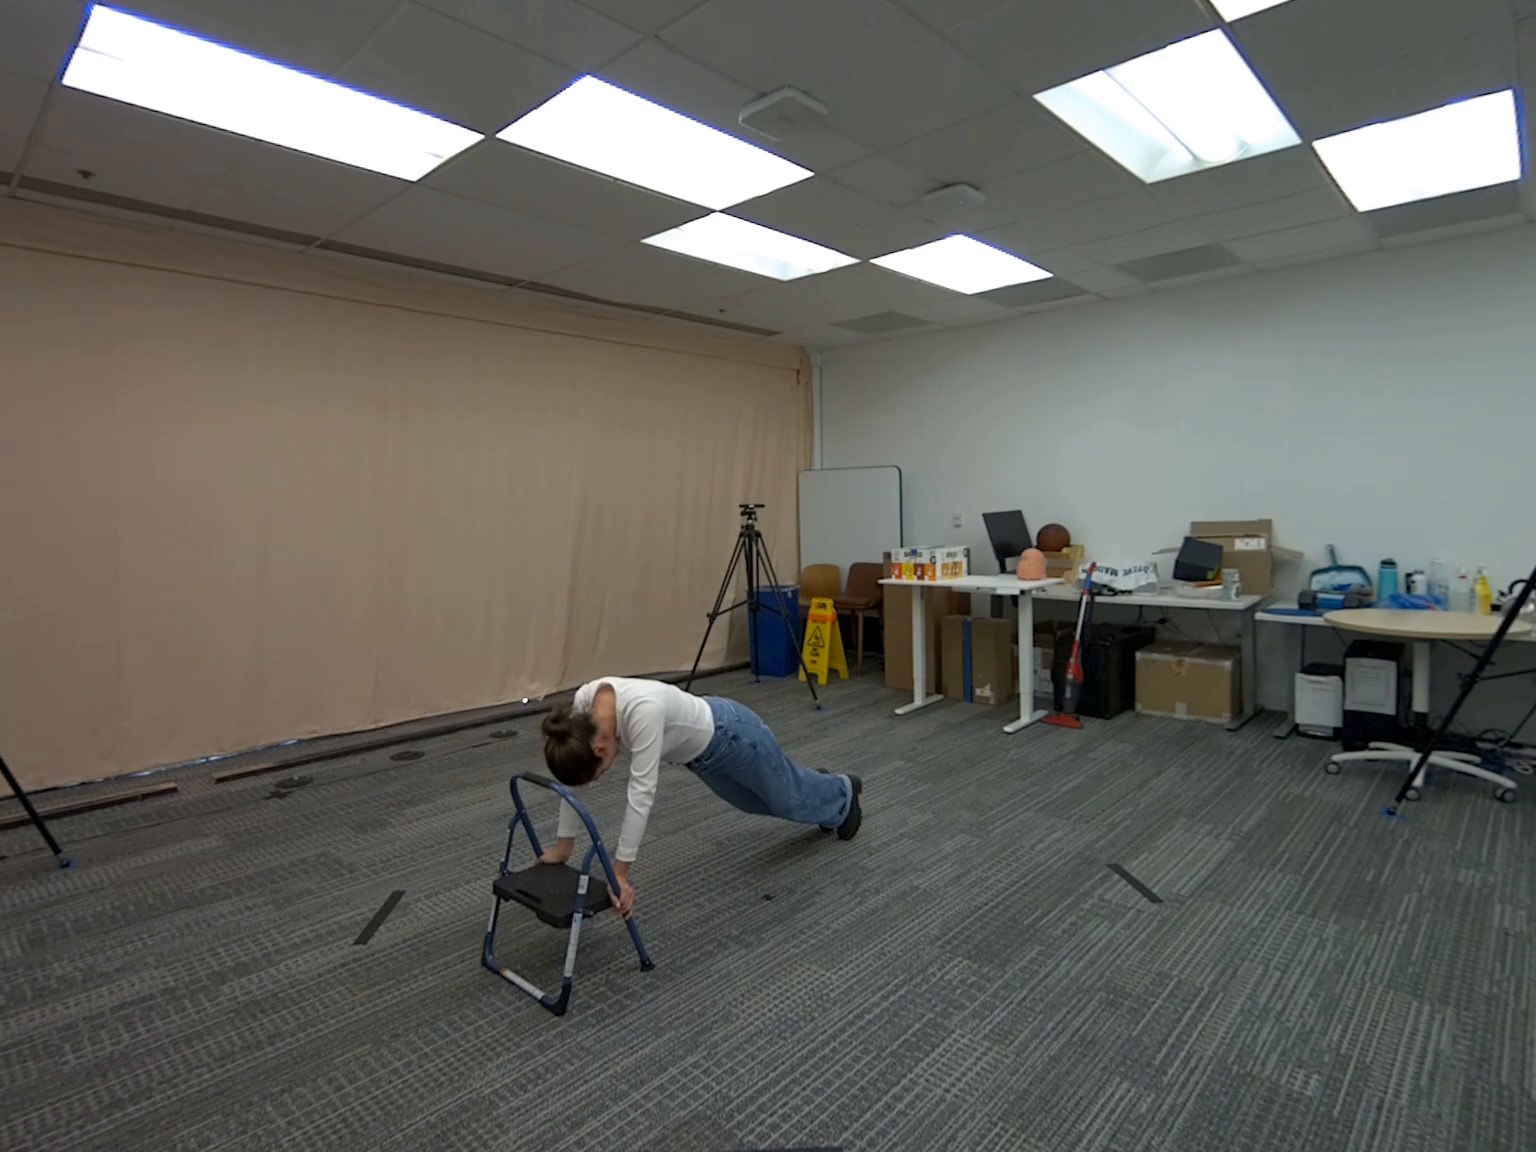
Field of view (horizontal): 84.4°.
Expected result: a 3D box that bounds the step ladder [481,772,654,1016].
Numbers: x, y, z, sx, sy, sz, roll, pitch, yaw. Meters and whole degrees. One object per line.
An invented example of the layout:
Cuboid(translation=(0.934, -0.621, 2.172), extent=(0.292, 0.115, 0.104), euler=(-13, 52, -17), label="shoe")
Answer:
Cuboid(translation=(-0.622, 0.892, 2.547), extent=(0.445, 0.605, 0.339), euler=(2, 4, 41), label="step ladder")
